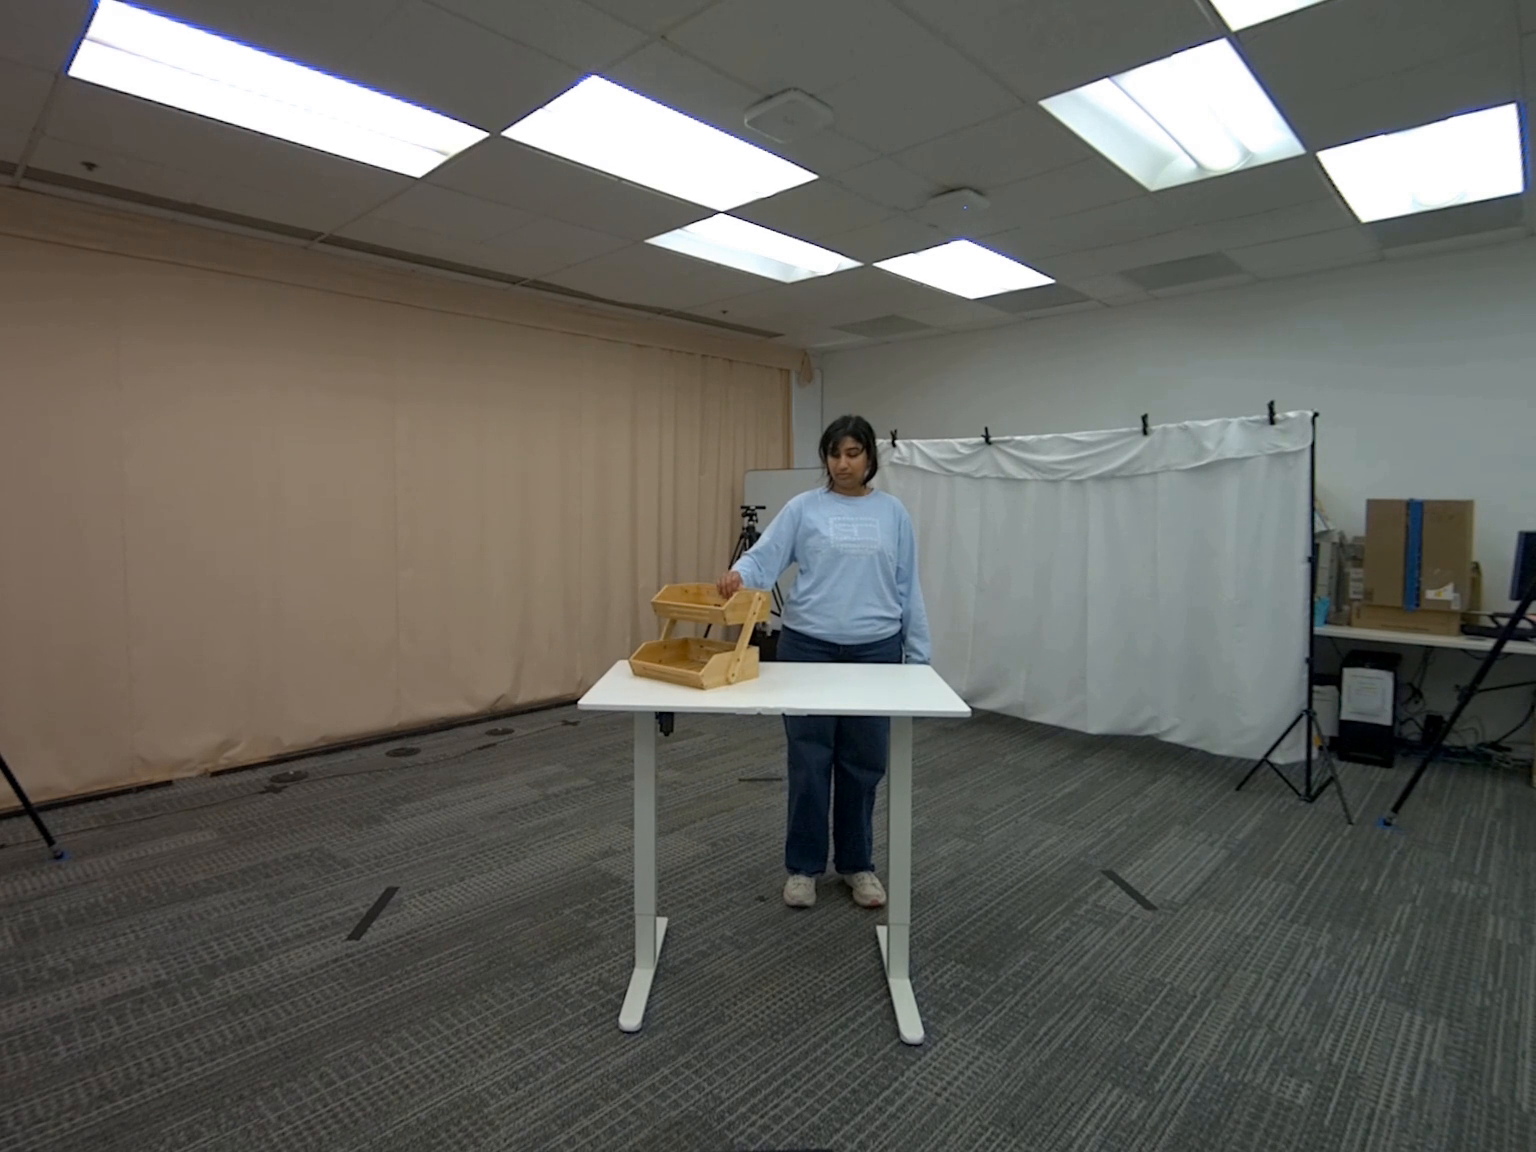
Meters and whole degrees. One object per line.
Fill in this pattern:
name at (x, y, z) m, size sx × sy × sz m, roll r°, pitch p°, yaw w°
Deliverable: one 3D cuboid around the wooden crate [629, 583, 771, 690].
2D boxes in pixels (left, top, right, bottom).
wooden crate at (-0.203, 0.168, 2.516) m, size 0.335 × 0.273 × 0.293 m, roll 4°, pitch 5°, yaw 40°
